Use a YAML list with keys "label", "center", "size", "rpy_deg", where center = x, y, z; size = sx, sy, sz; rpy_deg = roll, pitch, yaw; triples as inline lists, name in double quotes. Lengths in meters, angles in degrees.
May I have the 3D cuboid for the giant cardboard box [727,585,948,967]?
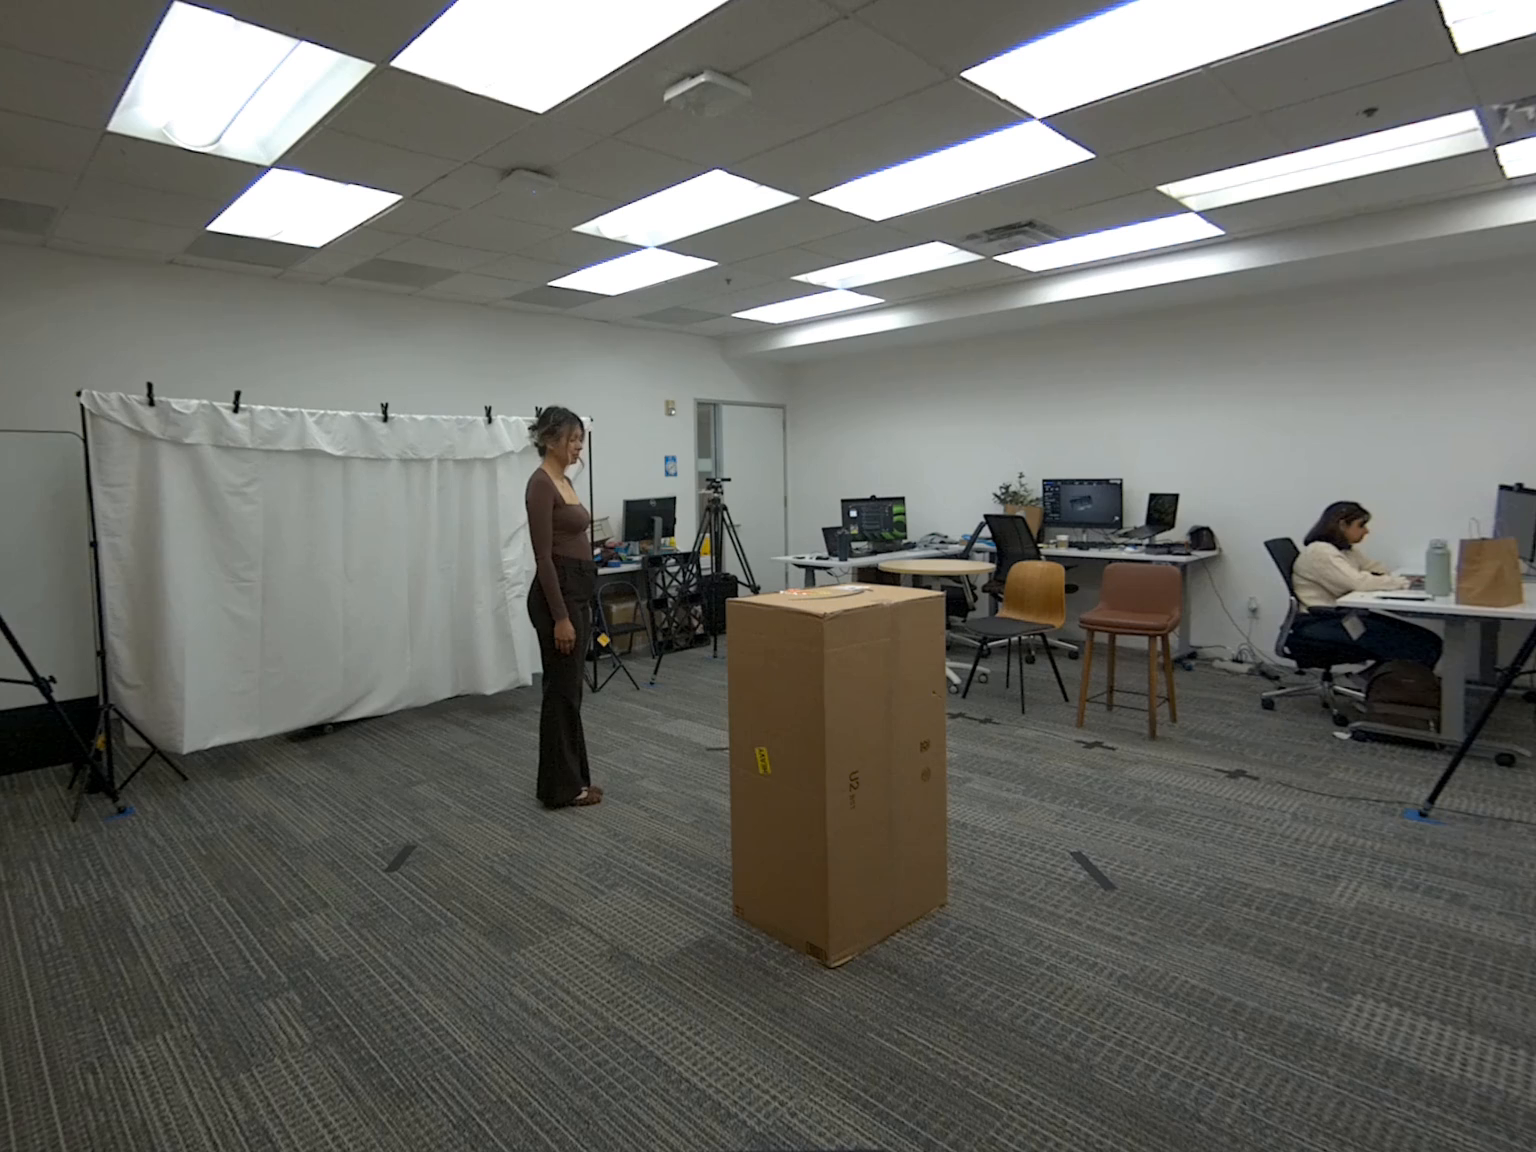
- label: "giant cardboard box"
  center: [0.228, 0.569, 2.736]
  size: [0.568, 1.024, 0.460]
  rpy_deg: [-4, 5, -40]
